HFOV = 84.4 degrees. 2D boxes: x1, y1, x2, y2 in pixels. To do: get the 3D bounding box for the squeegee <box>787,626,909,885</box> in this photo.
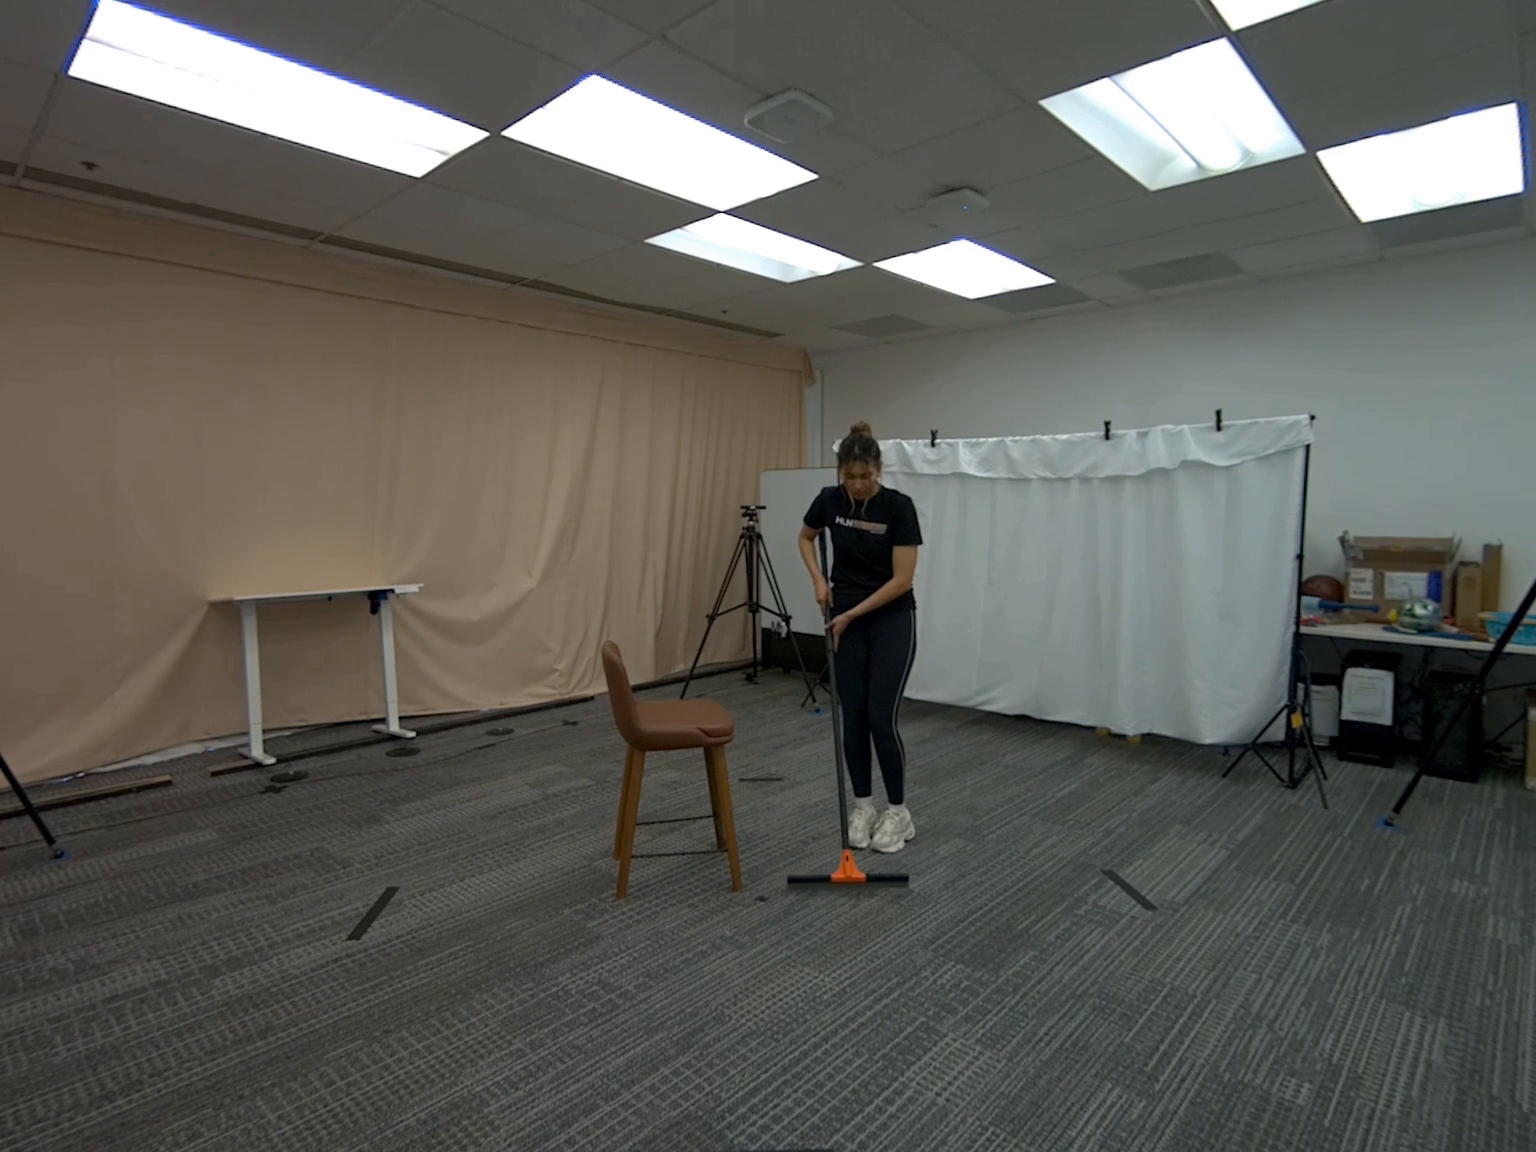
[{"bbox_3d":[0.275,0.415,3.334,0.439,1.562,0.052,-3,-28,3],"label":"squeegee"}]
